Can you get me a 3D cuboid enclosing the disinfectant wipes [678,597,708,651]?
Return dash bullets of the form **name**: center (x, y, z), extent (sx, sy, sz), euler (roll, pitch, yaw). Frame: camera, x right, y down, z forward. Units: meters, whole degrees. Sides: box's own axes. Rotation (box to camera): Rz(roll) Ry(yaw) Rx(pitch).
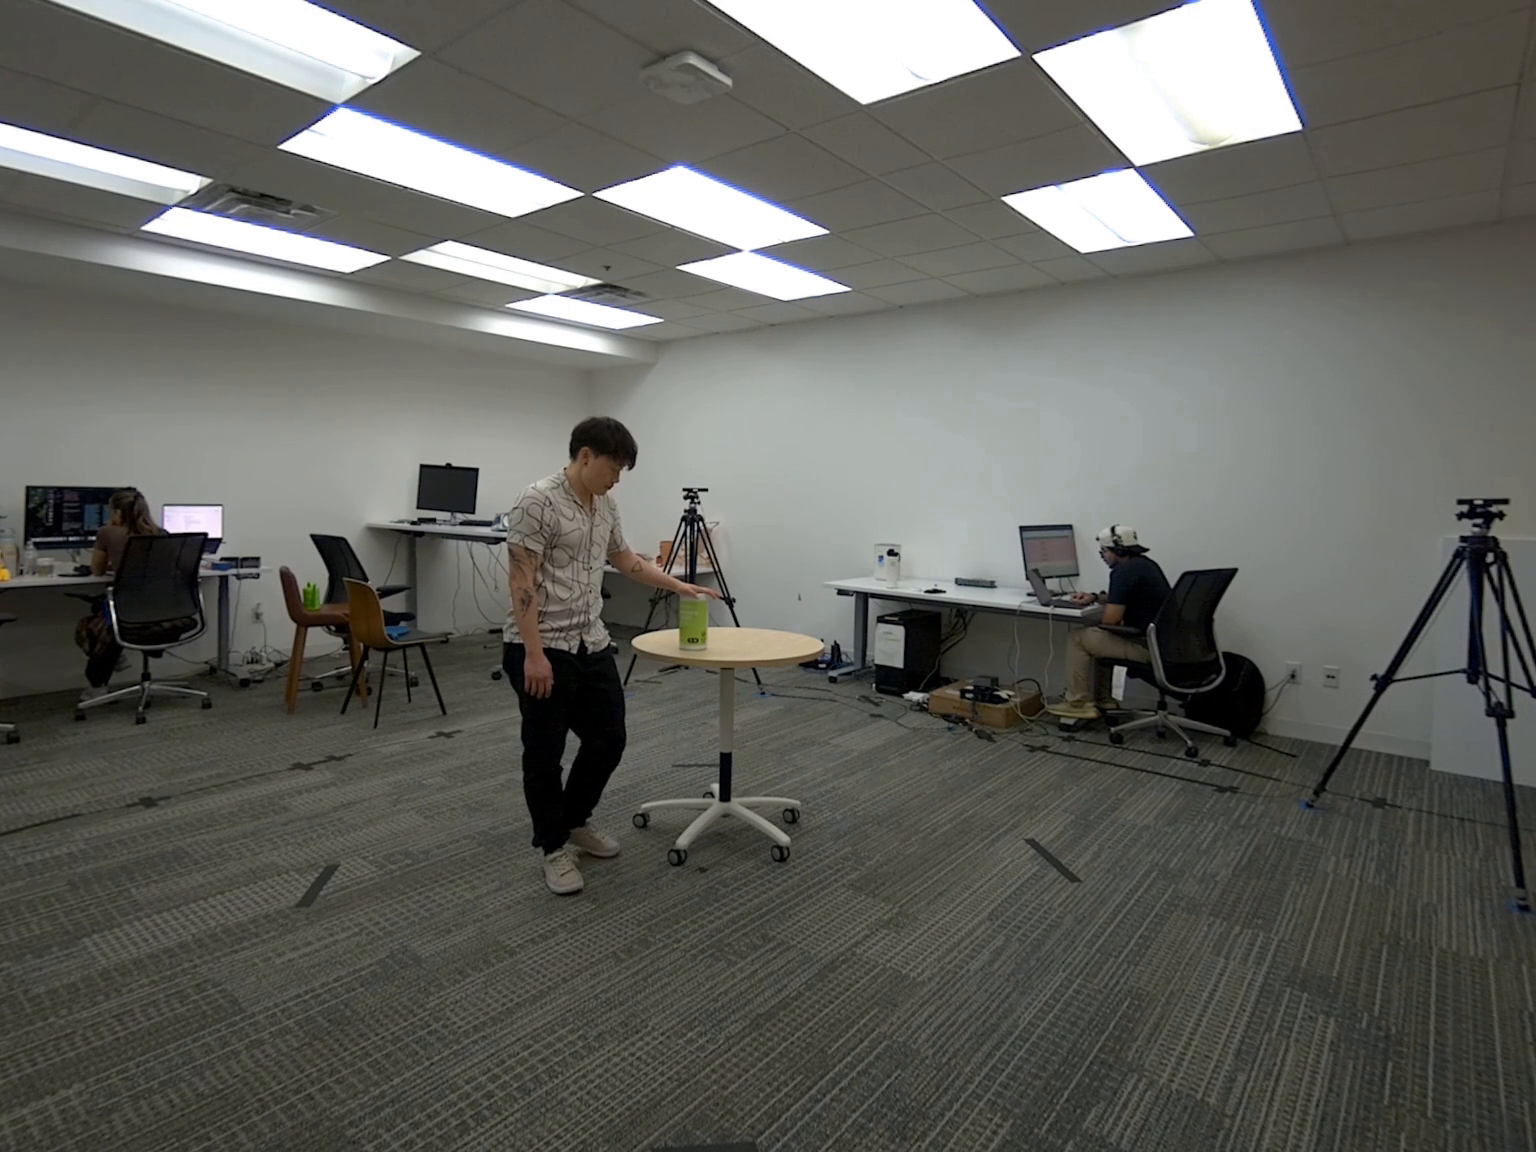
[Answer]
- **disinfectant wipes**: center (-0.293, 0.173, 3.242), extent (0.118, 0.216, 0.118), euler (-1, 6, -2)
